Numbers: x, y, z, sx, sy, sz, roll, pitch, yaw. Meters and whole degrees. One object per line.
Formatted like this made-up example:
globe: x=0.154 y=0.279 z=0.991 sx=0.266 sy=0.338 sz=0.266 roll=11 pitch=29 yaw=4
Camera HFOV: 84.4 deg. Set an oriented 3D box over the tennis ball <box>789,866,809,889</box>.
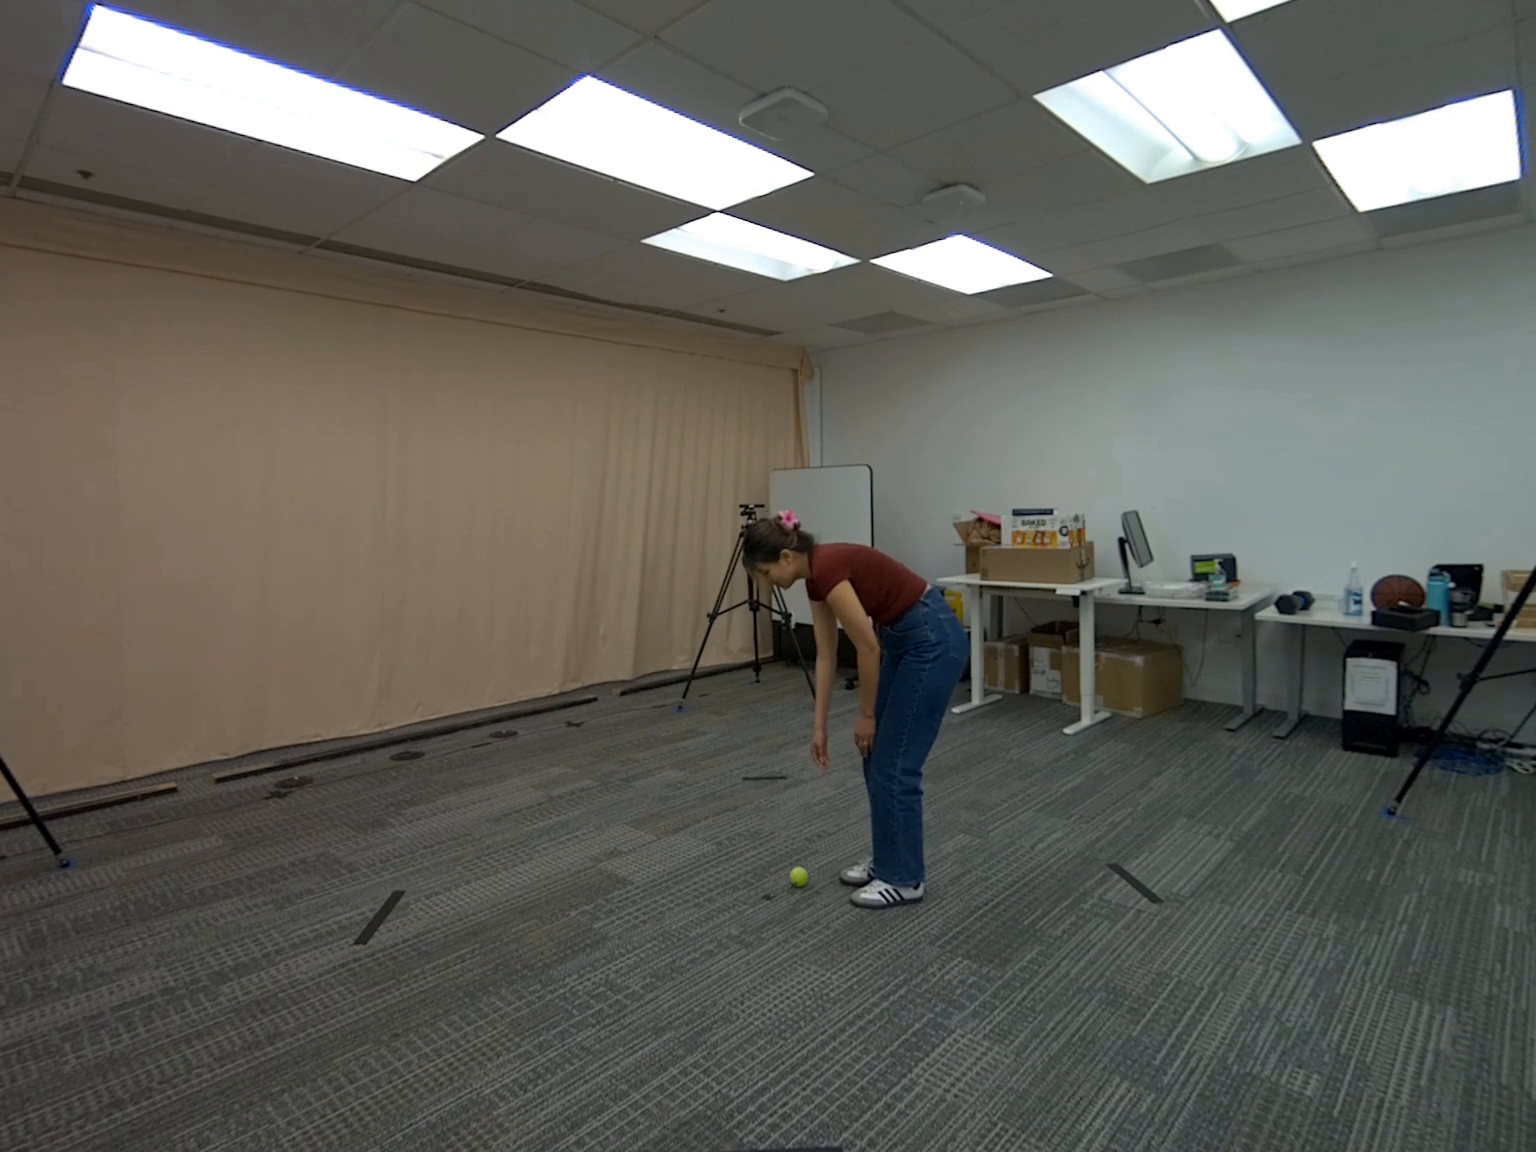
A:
tennis ball: x=0.110 y=1.085 z=3.068 sx=0.066 sy=0.066 sz=0.067 roll=-1 pitch=4 yaw=-2
